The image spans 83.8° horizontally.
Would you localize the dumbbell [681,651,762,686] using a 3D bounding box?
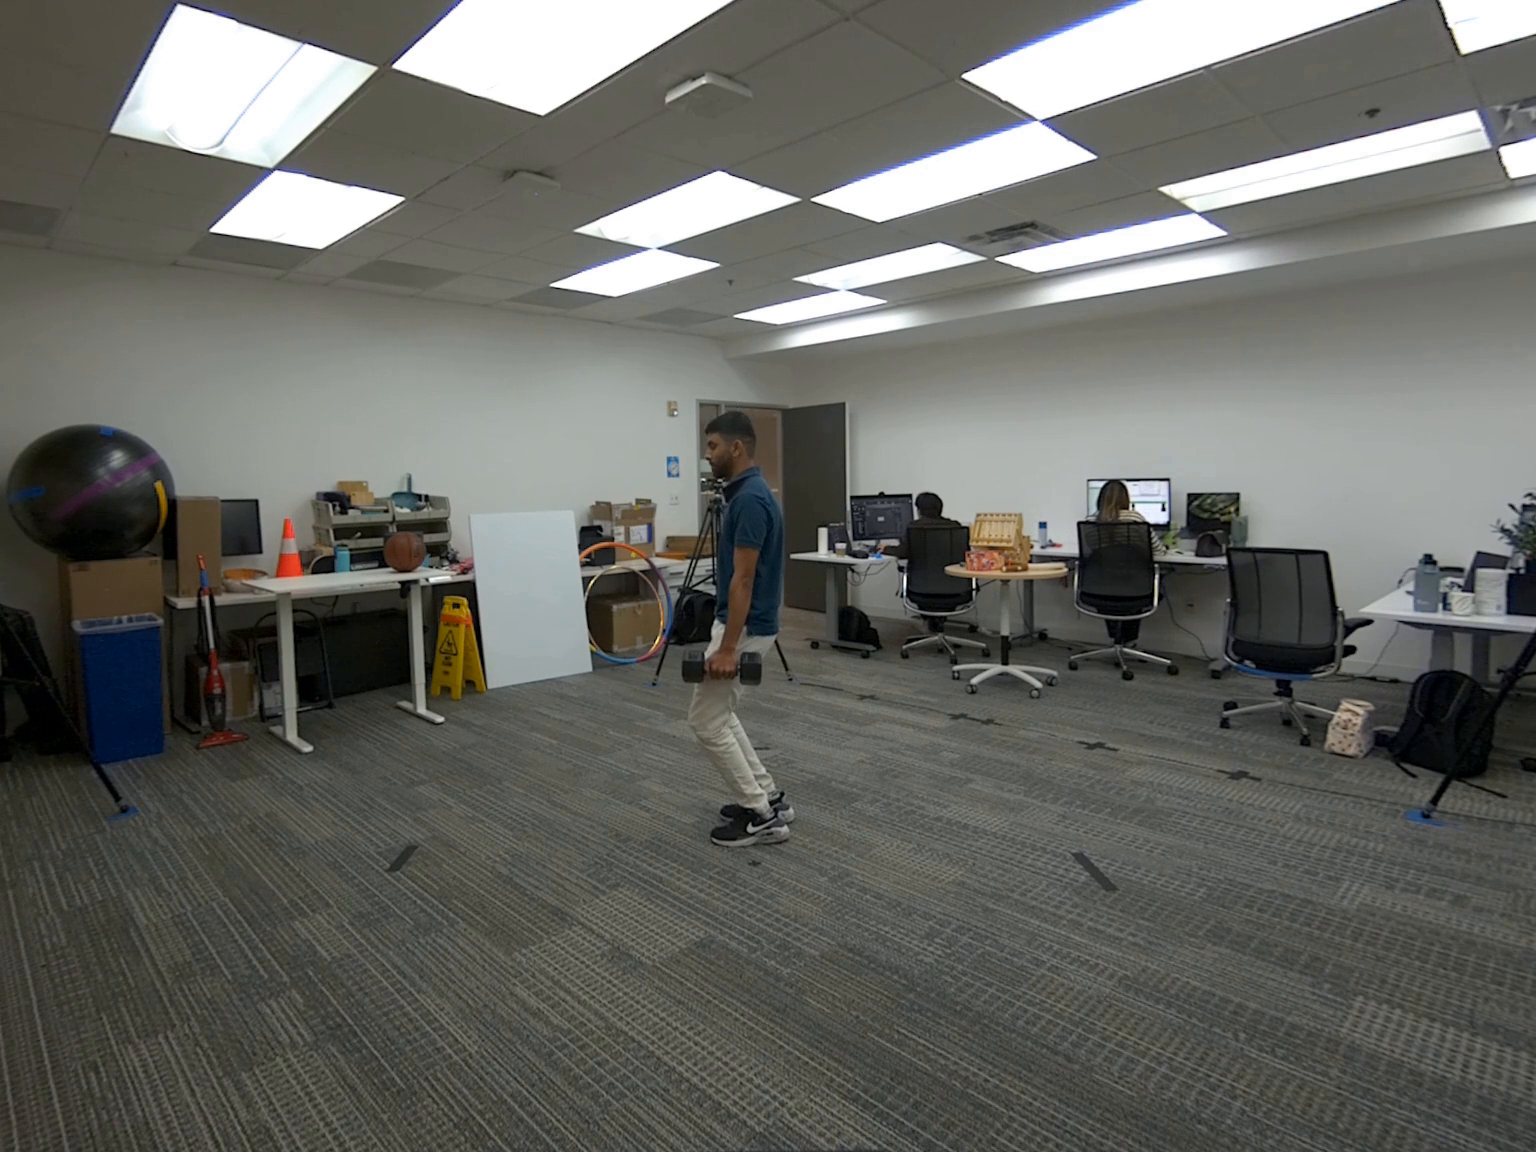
[{"bbox_3d":[-0.167,0.342,3.163,0.294,0.123,0.109,1,1,1],"label":"dumbbell"}]
